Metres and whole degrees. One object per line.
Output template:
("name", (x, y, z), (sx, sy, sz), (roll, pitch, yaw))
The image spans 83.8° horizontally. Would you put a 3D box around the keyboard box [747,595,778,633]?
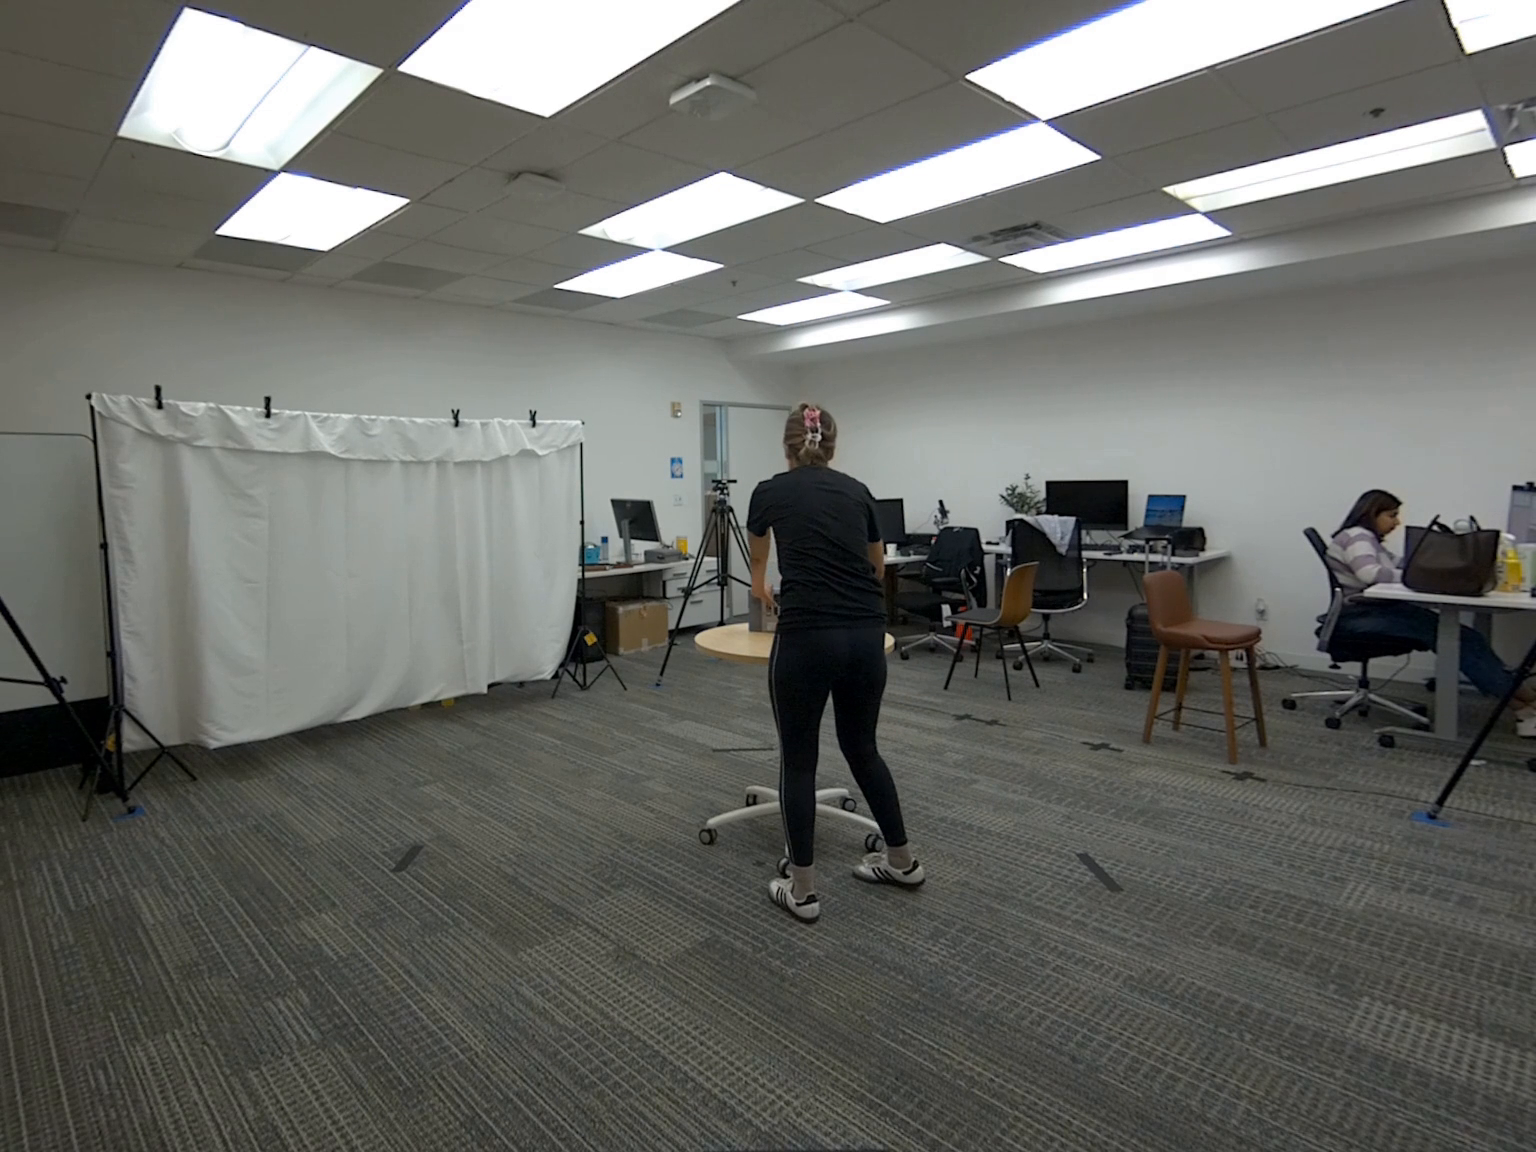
("keyboard box", (0.148, 0.140, 3.399), (0.443, 0.175, 0.058), (1, 3, 16))
